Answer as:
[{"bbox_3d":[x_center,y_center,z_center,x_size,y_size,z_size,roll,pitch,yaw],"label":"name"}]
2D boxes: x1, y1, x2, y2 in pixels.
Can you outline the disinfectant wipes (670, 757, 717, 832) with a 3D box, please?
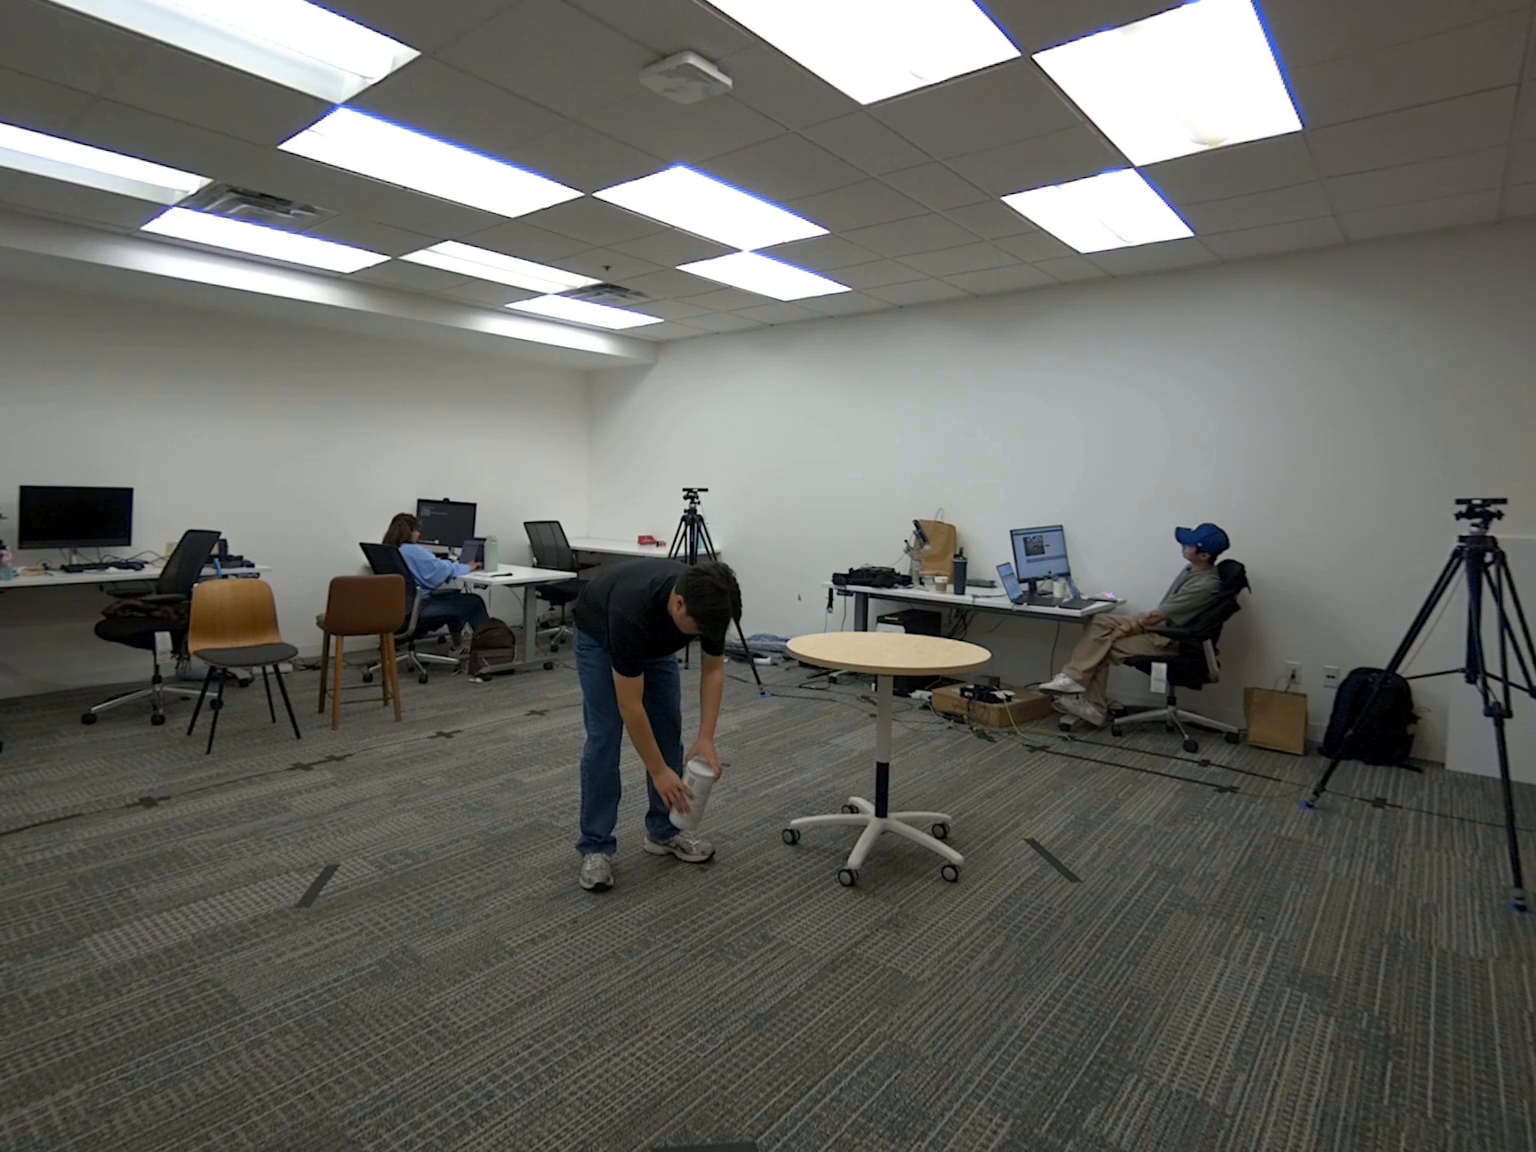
[{"bbox_3d":[-0.264,0.749,2.922,0.117,0.217,0.118,17,5,-4],"label":"disinfectant wipes"}]
